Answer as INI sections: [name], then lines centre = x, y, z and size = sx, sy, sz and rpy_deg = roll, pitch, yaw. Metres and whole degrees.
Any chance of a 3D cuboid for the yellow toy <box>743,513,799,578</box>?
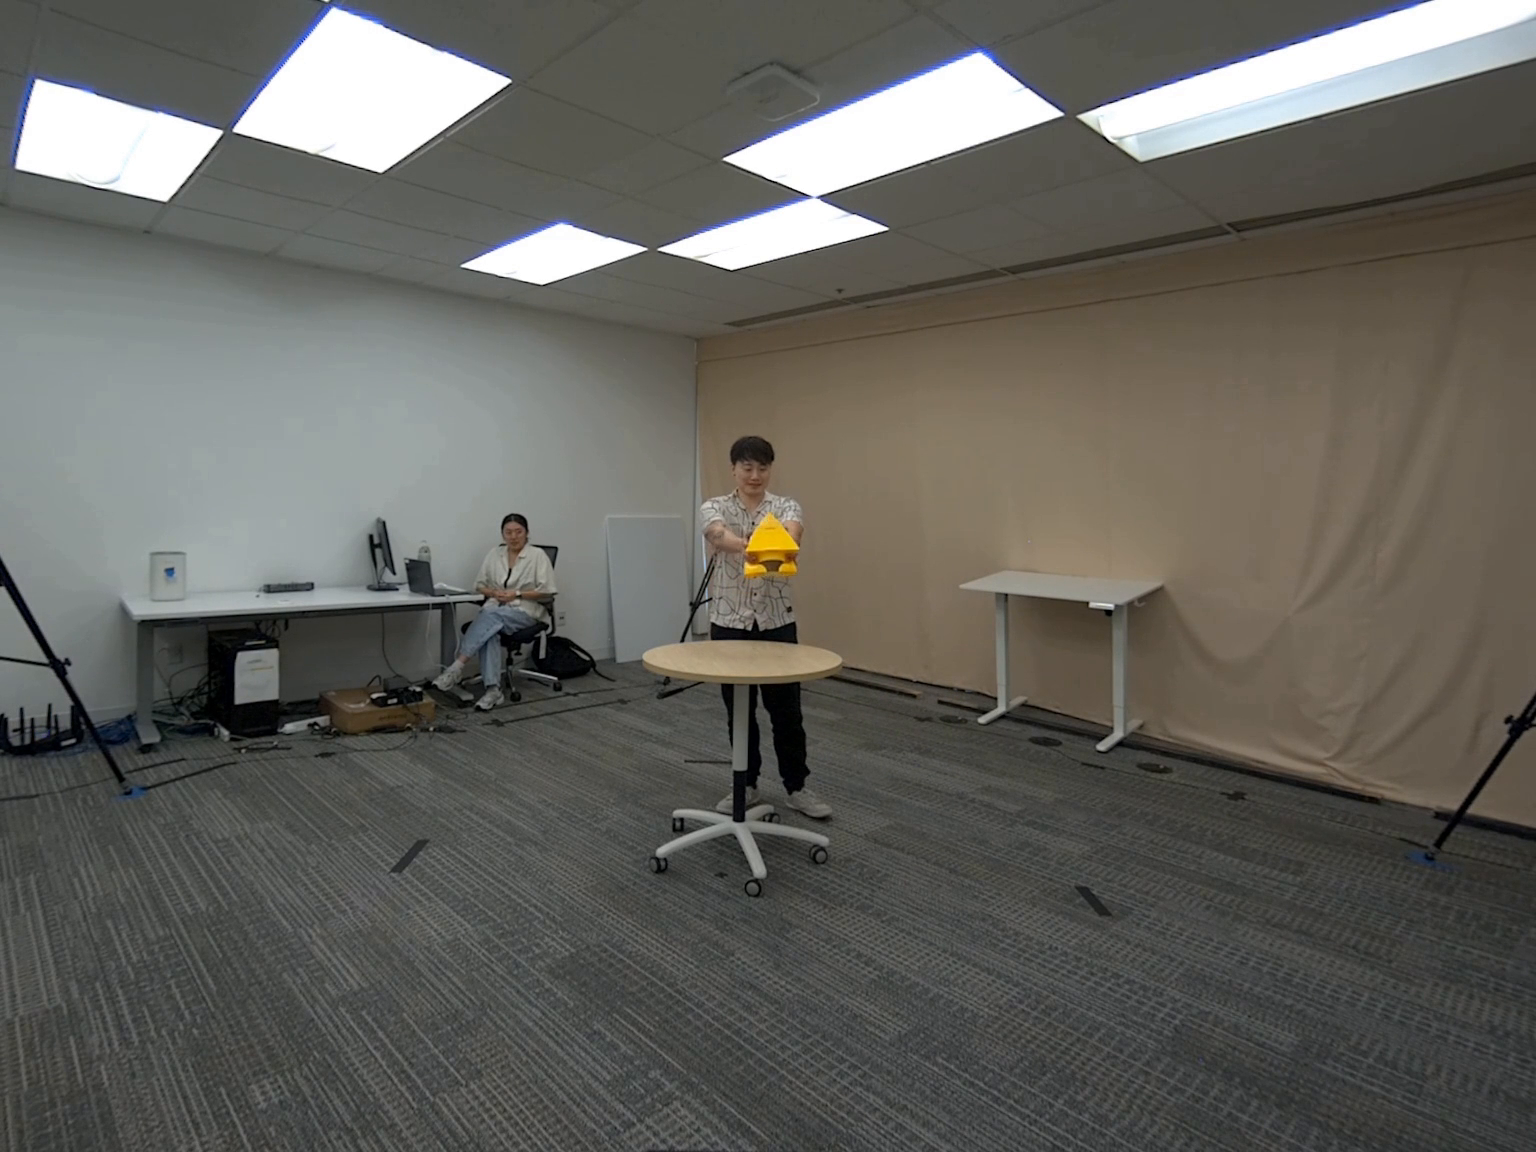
[yellow toy]
centre = -0.011, -0.116, 3.252
size = 0.203, 0.232, 0.193
rpy_deg = -3, -9, -8
